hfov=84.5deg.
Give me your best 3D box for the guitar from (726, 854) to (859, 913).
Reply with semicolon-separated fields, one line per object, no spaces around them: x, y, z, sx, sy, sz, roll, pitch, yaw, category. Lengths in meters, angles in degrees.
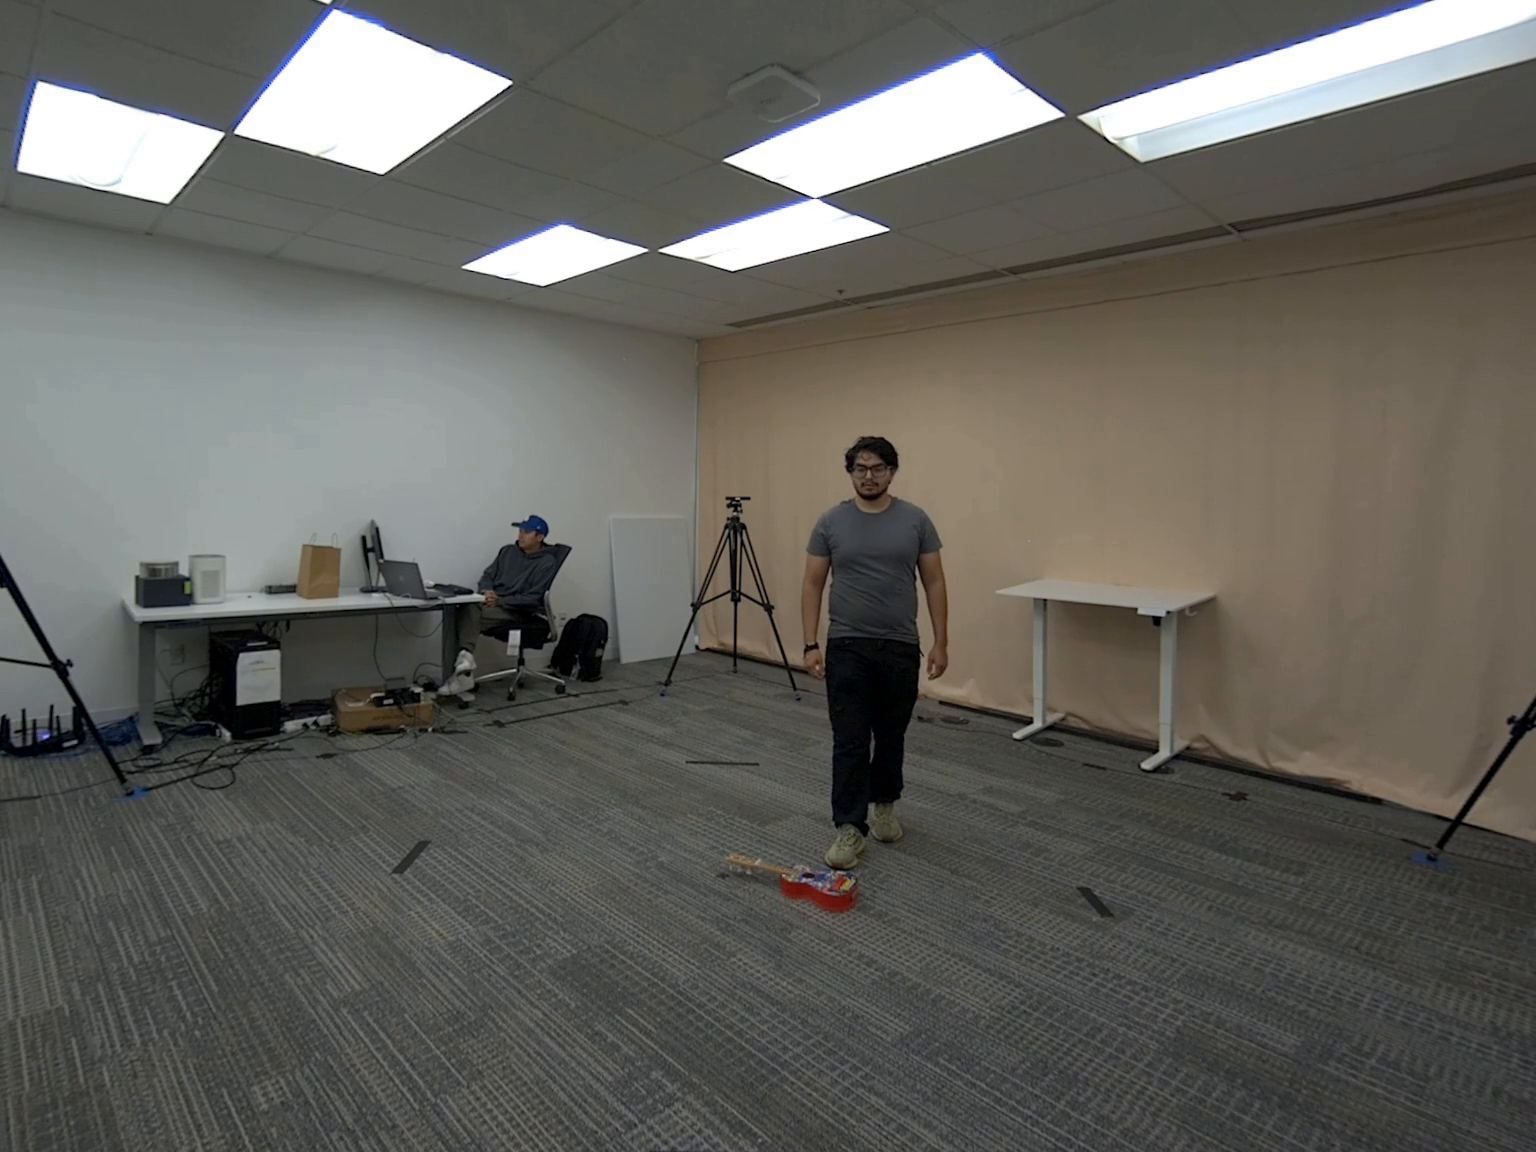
0.083;1.084;3.040;0.510;0.070;0.189;5;7;34;guitar
